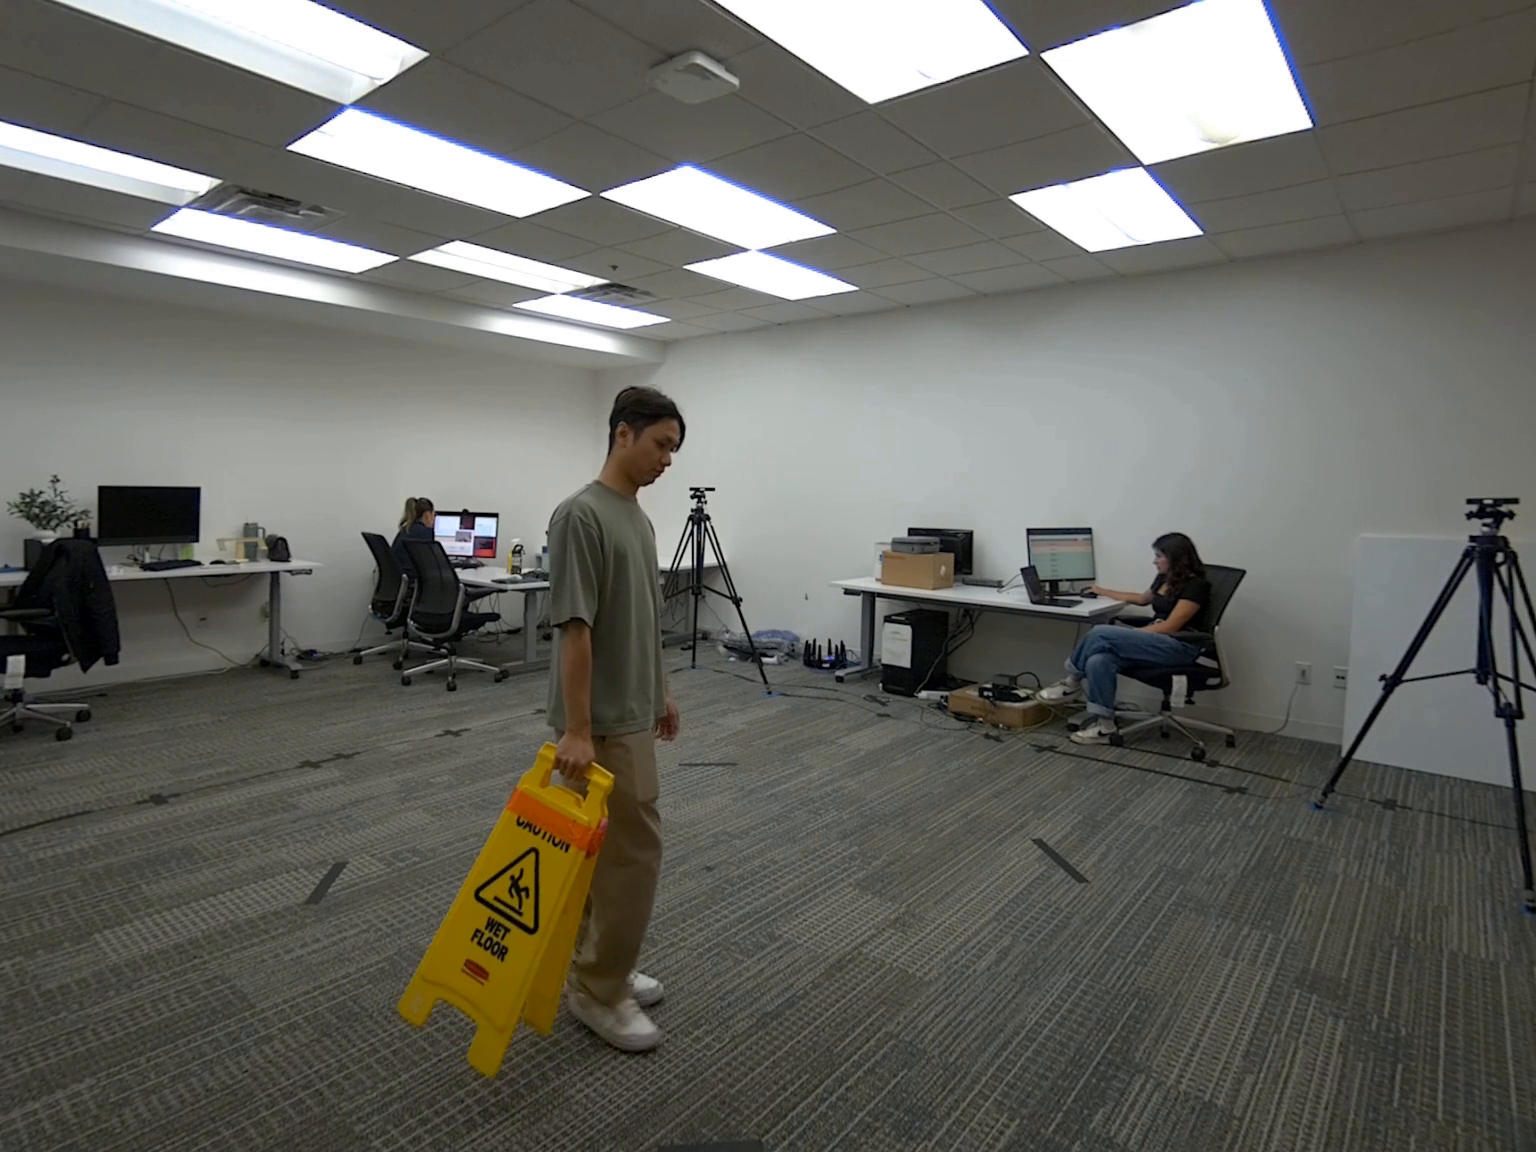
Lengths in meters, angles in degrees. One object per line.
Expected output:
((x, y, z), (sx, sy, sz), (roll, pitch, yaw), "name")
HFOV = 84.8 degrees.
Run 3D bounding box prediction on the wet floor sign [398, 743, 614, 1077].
((-0.550, 0.734, 1.975), (0.289, 0.647, 0.283), (20, -3, 17), "wet floor sign")
